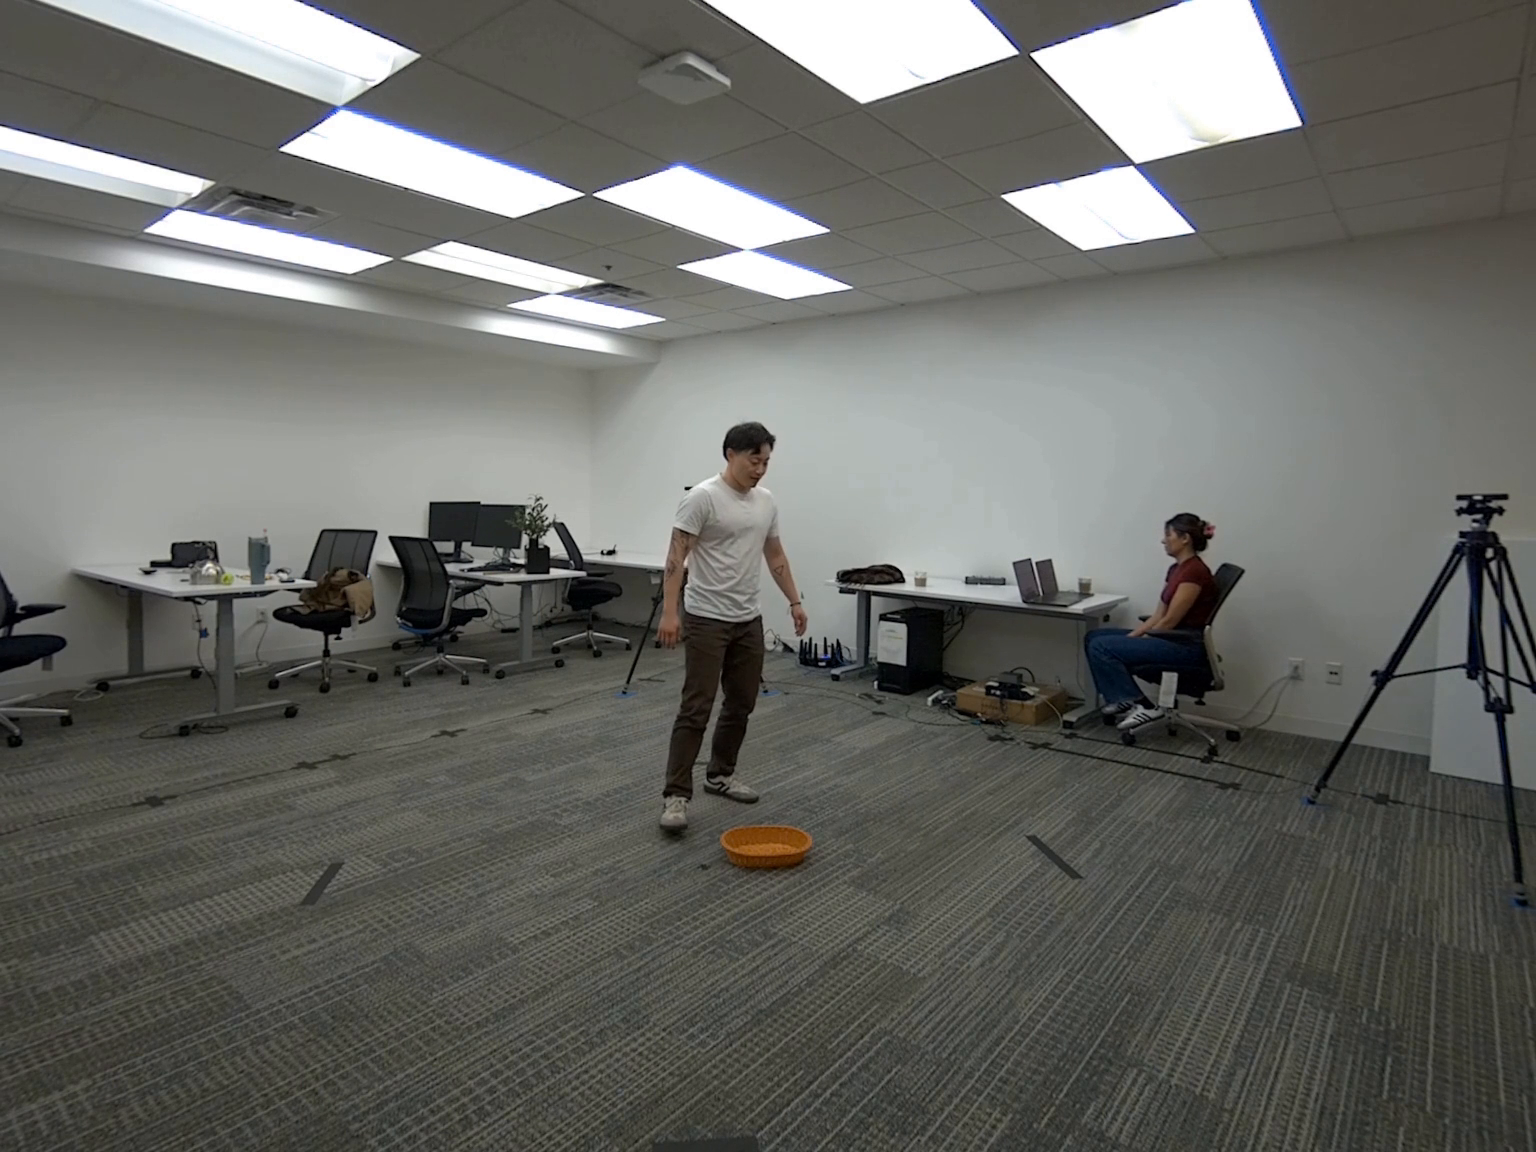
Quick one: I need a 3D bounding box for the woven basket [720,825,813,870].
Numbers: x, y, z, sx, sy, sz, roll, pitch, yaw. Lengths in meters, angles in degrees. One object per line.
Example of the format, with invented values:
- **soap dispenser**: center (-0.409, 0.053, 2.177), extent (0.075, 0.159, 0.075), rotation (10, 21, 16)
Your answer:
- **woven basket**: center (-0.019, 1.021, 3.207), extent (0.347, 0.073, 0.256), rotation (0, 7, -9)
